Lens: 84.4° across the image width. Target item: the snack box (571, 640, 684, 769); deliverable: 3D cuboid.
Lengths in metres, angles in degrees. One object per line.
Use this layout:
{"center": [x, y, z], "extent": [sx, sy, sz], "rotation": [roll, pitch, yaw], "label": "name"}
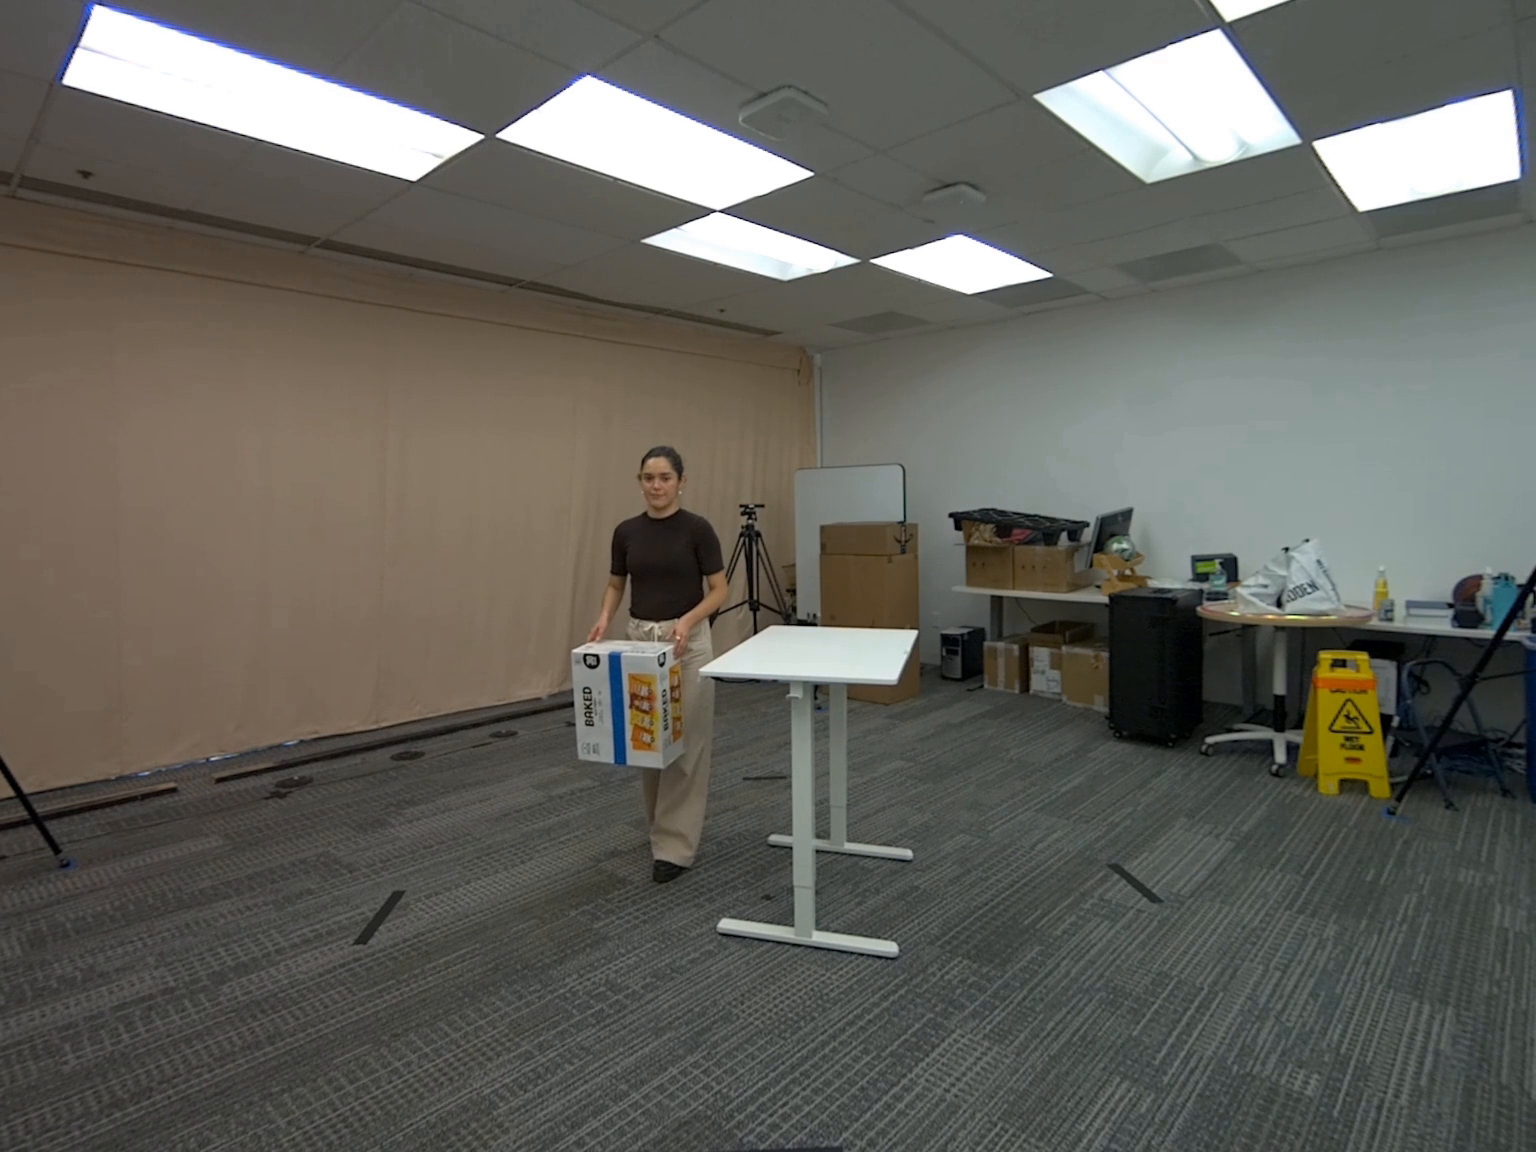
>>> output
{"center": [-0.504, 0.454, 3.054], "extent": [0.348, 0.403, 0.202], "rotation": [0, 7, 21], "label": "snack box"}
